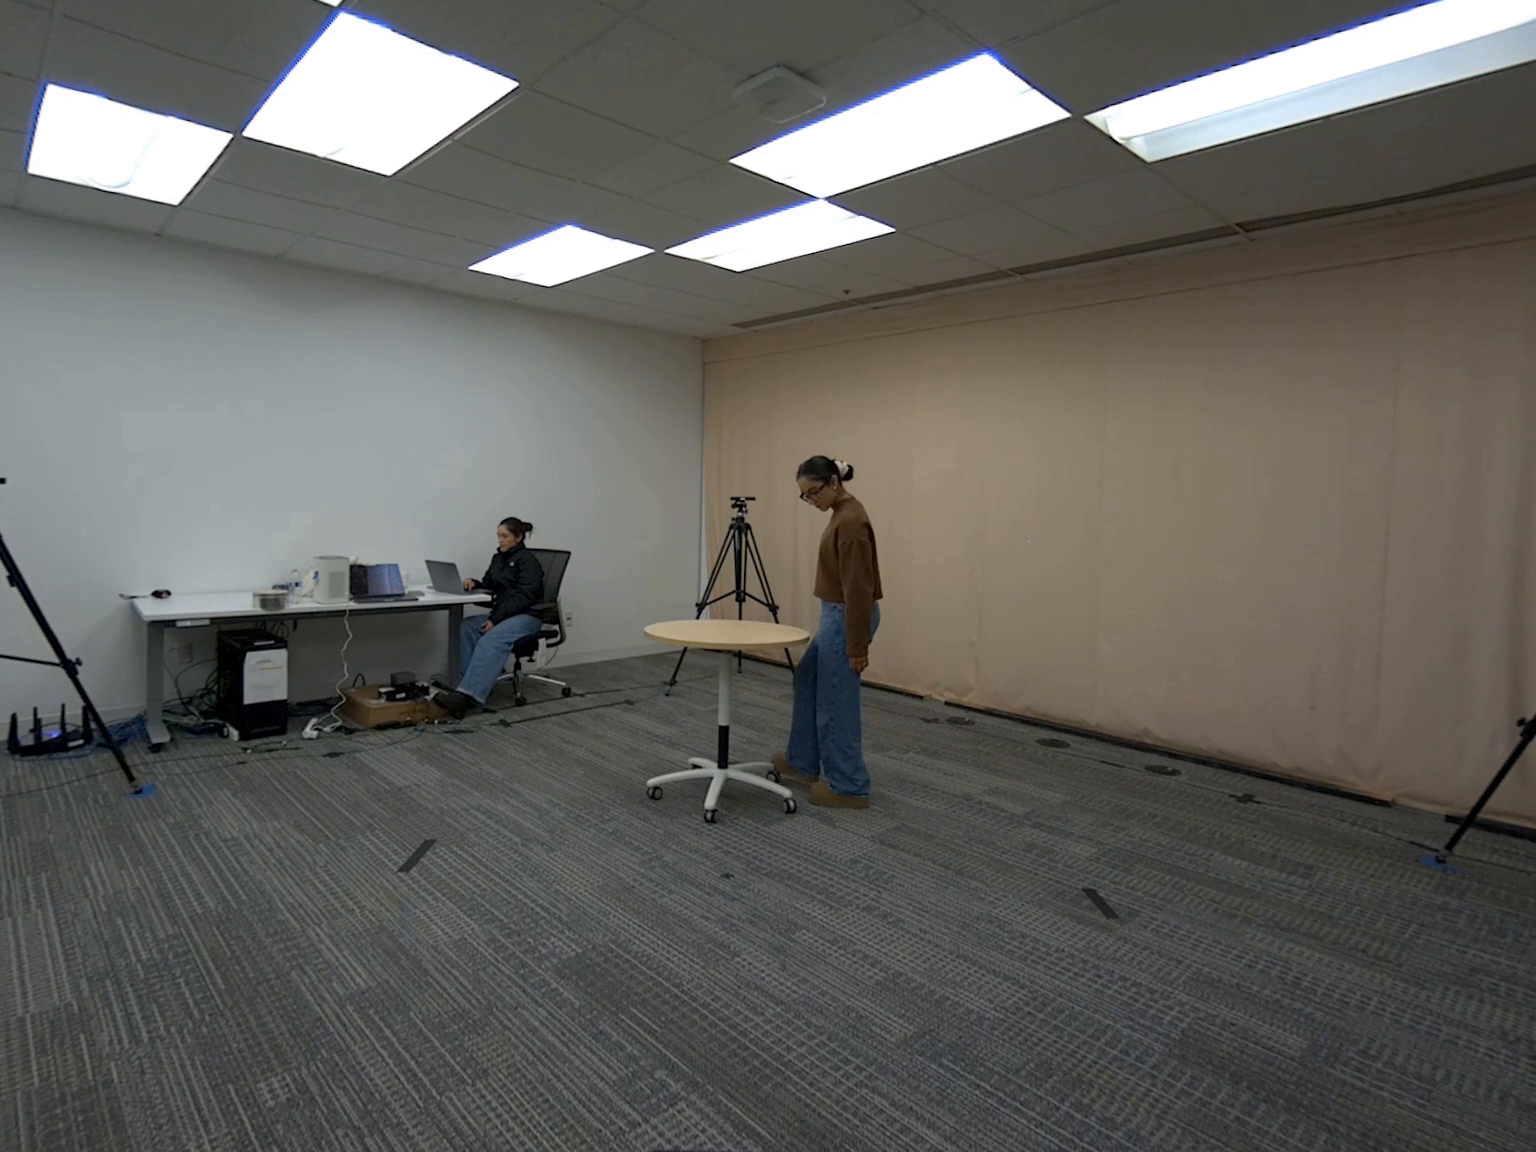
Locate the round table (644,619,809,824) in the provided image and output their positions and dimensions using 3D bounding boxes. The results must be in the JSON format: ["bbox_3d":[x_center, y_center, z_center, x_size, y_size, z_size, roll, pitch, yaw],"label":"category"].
[{"bbox_3d":[-0.216,0.647,3.909,0.763,0.792,0.766,2,3,-1],"label":"round table"}]
